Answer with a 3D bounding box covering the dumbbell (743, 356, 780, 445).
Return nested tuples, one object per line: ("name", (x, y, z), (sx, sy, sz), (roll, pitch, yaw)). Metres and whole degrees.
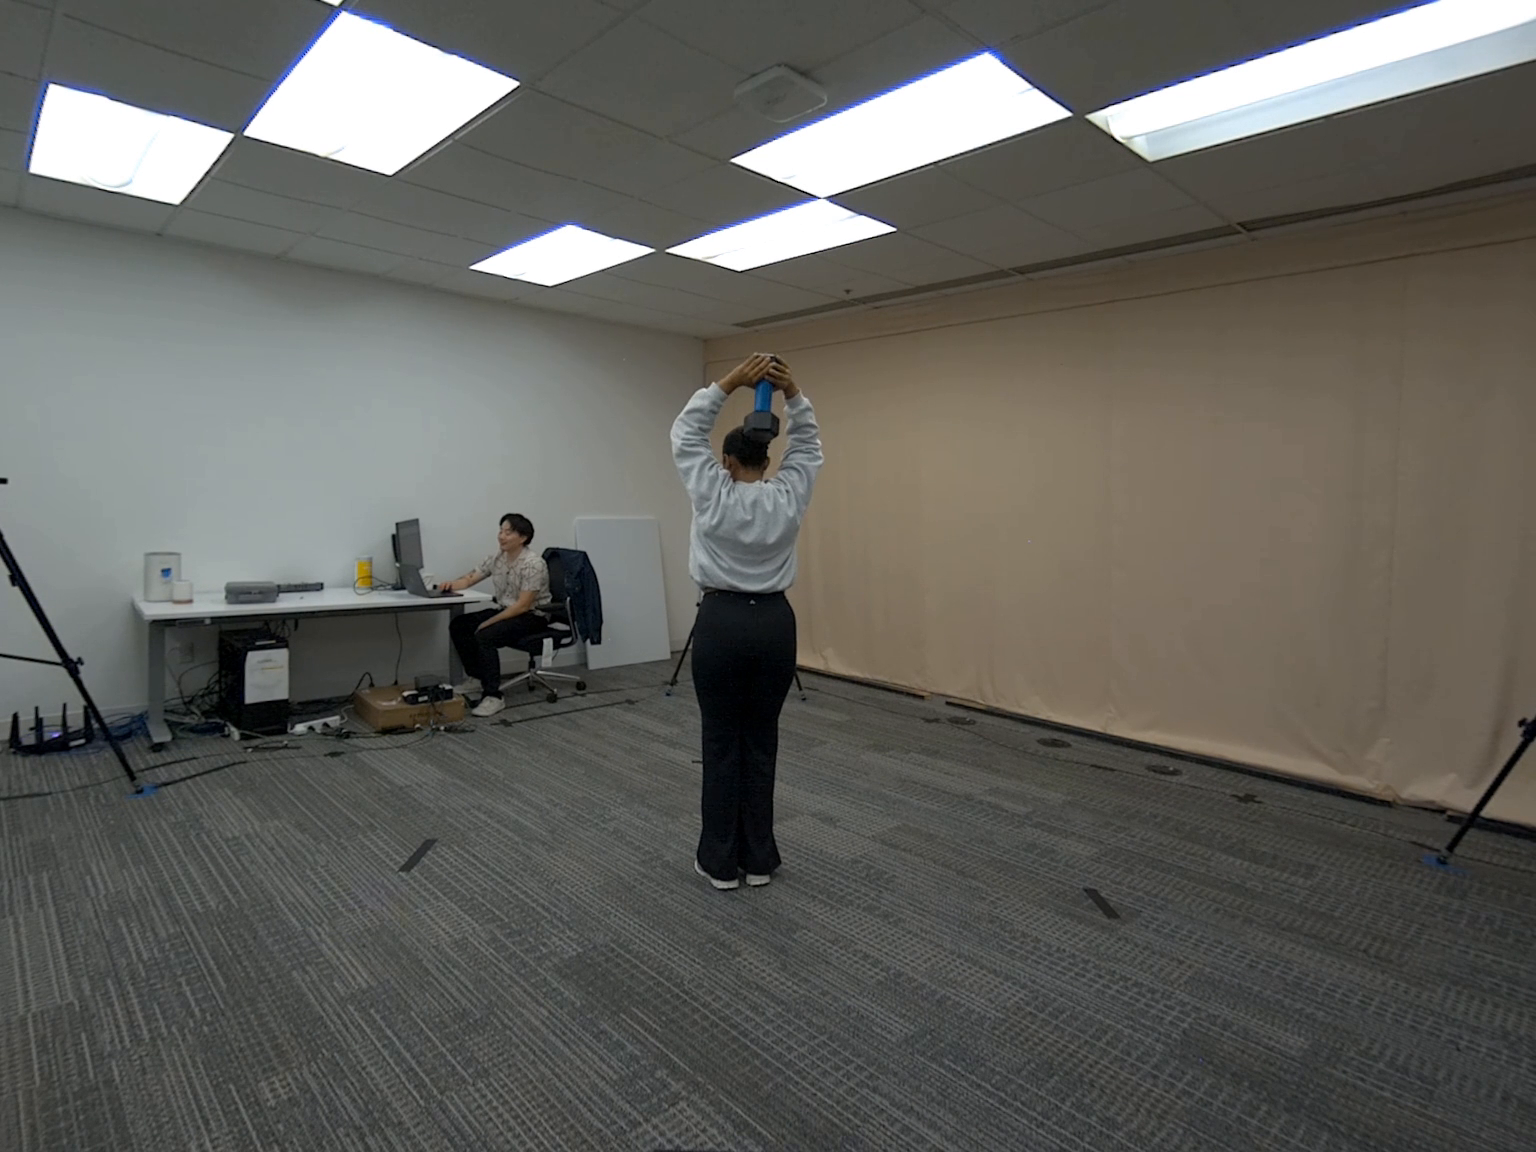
("dumbbell", (-0.026, -0.611, 2.912), (0.111, 0.296, 0.119), (-4, -18, 31))
